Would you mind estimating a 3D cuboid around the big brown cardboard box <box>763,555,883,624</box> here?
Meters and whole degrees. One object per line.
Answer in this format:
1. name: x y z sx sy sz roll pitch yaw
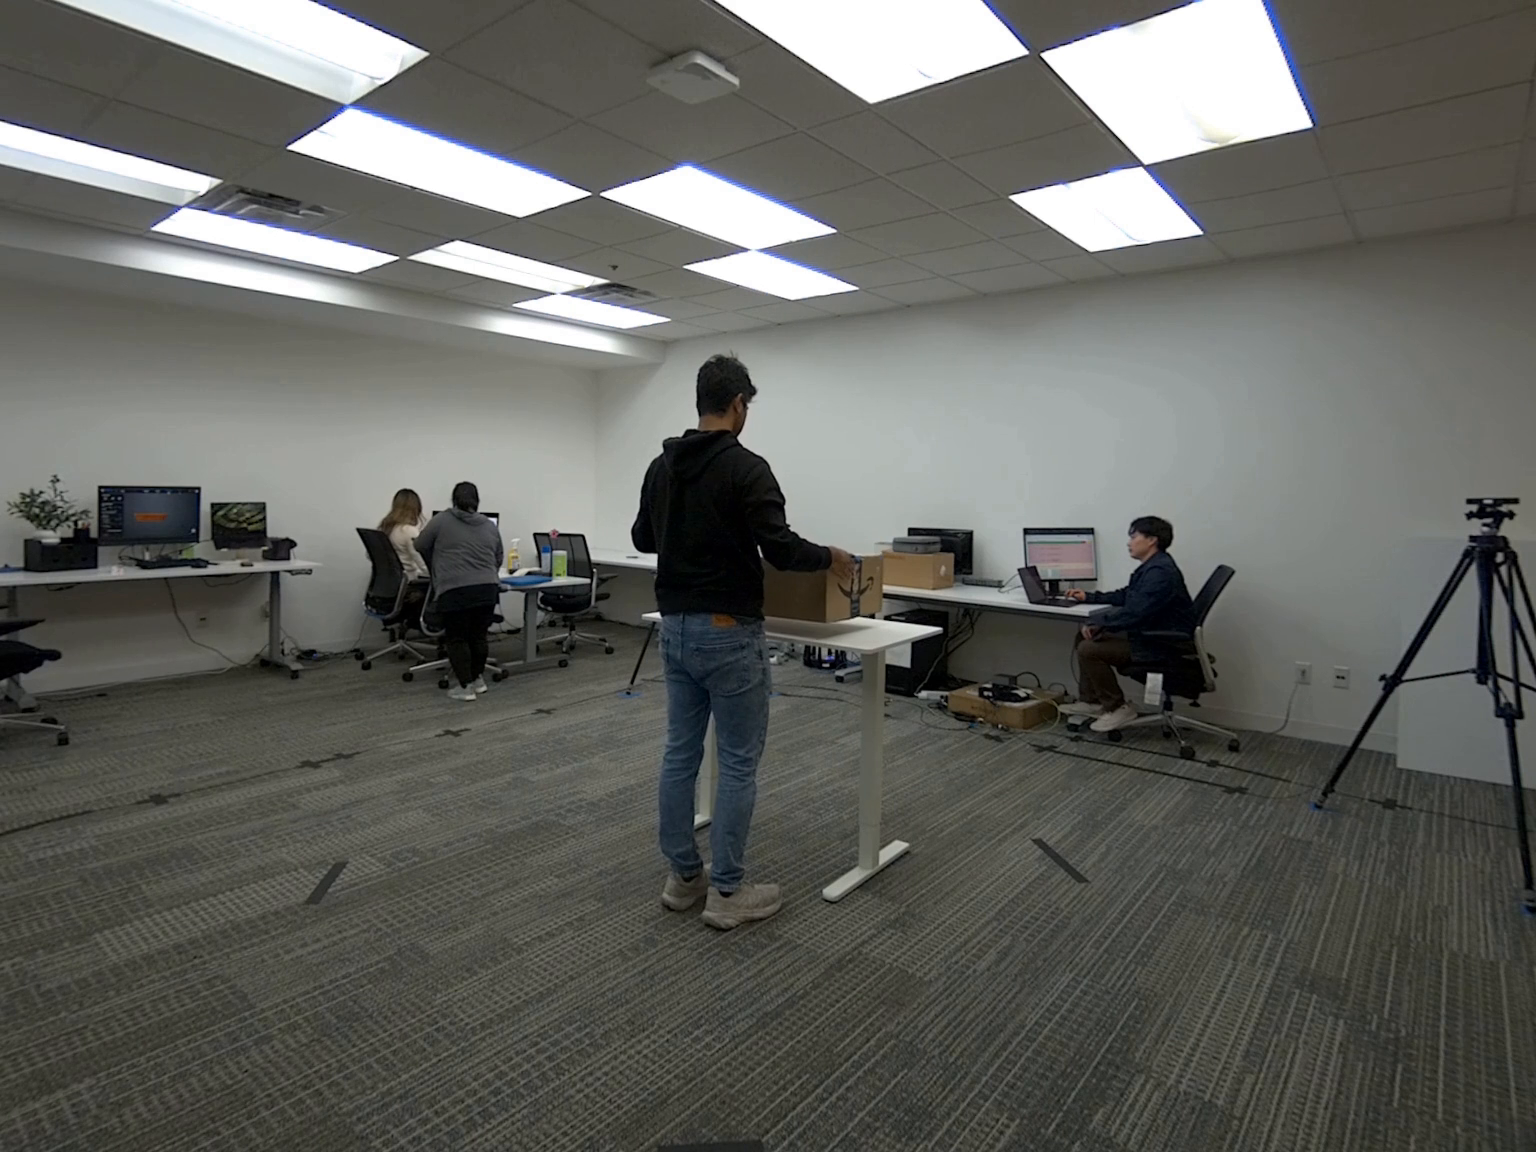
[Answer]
1. big brown cardboard box: 0.074 0.021 3.194 0.608 0.232 0.406 4 6 36
